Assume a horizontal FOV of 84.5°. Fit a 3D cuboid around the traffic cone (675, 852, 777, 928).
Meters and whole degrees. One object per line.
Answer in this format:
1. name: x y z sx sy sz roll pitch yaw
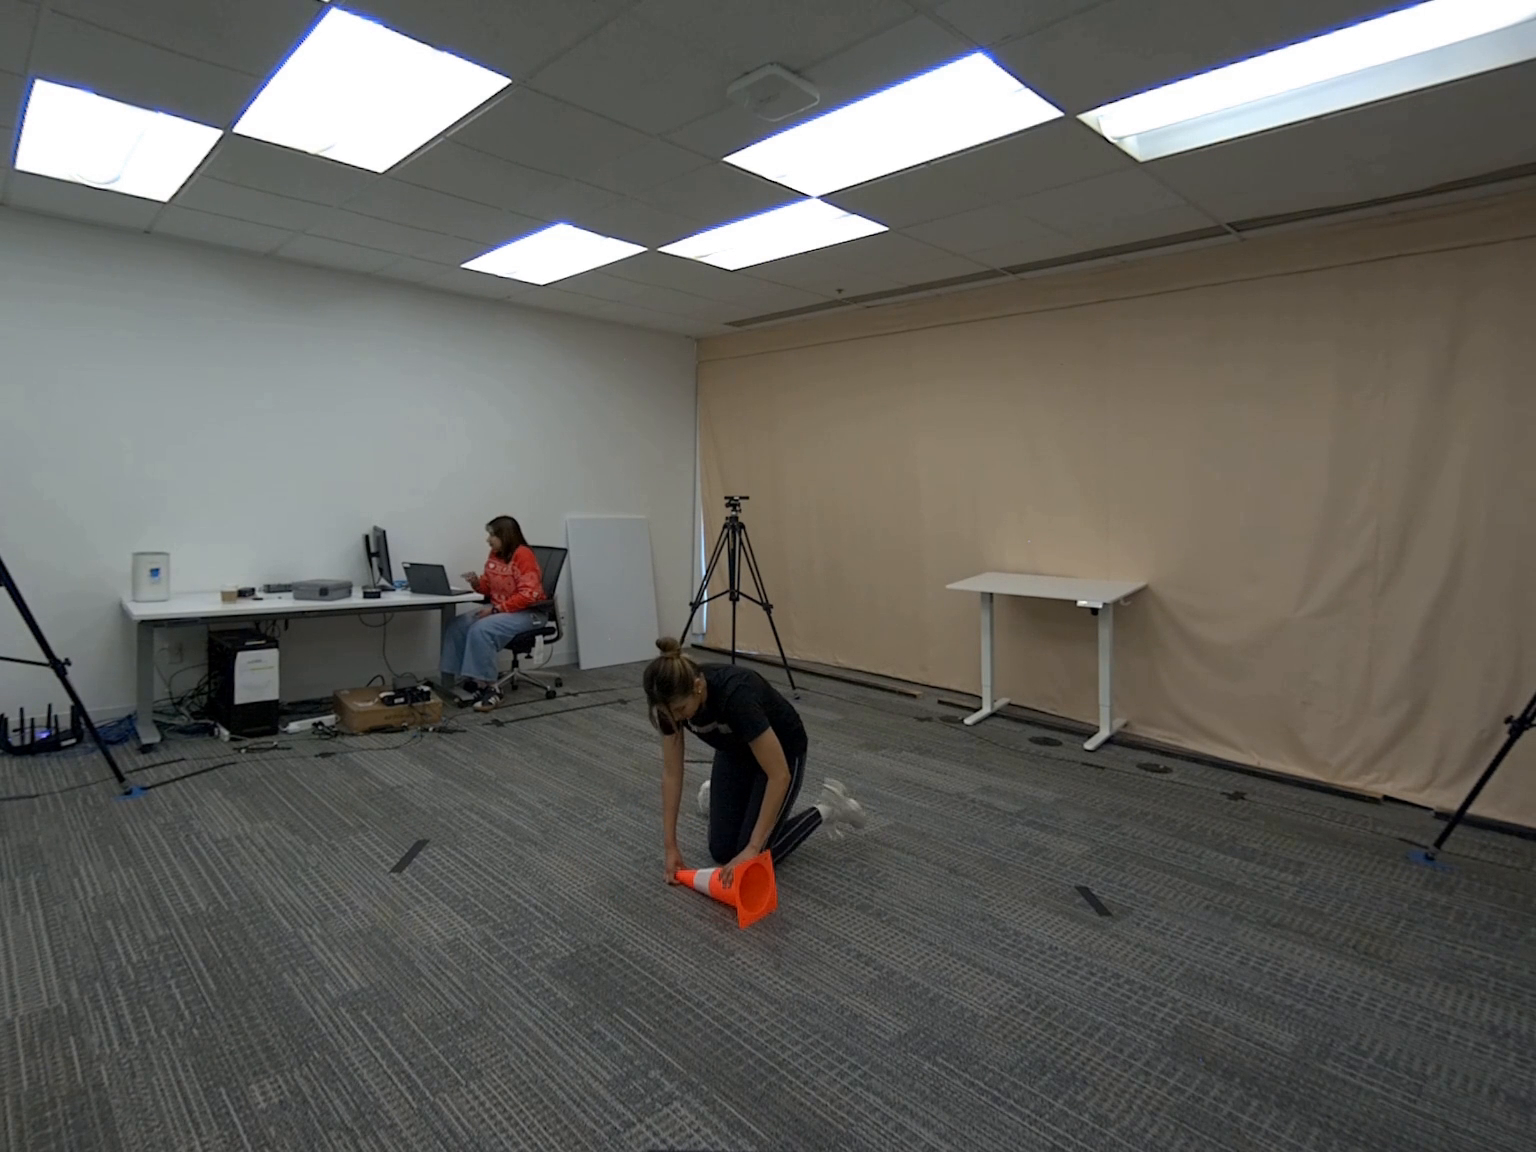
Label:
1. traffic cone: -0.197 1.070 2.917 0.390 0.204 0.200 -12 -4 40
